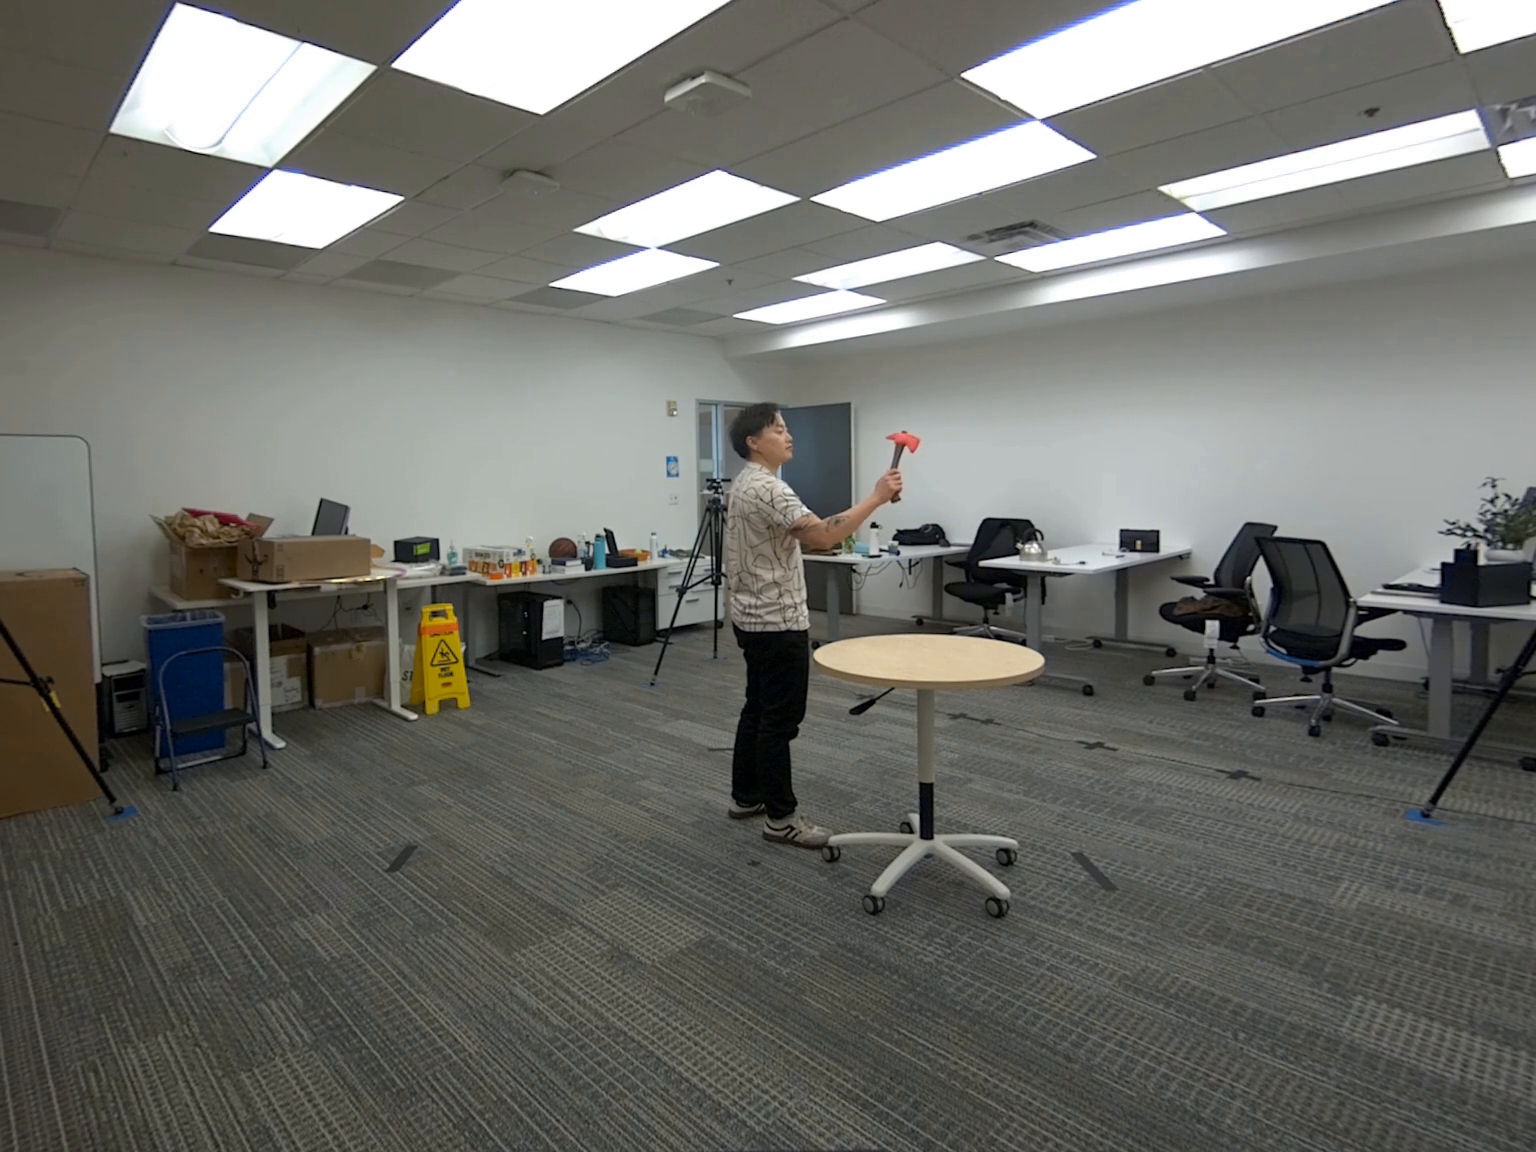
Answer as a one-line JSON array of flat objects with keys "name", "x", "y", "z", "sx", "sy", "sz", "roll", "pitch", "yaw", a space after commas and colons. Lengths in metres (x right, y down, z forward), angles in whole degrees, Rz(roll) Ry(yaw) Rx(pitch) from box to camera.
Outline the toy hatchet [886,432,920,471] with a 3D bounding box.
[{"name": "toy hatchet", "x": 0.497, "y": -0.396, "z": 3.070, "sx": 0.133, "sy": 0.274, "sz": 0.028, "roll": -10, "pitch": -21, "yaw": 27}]
